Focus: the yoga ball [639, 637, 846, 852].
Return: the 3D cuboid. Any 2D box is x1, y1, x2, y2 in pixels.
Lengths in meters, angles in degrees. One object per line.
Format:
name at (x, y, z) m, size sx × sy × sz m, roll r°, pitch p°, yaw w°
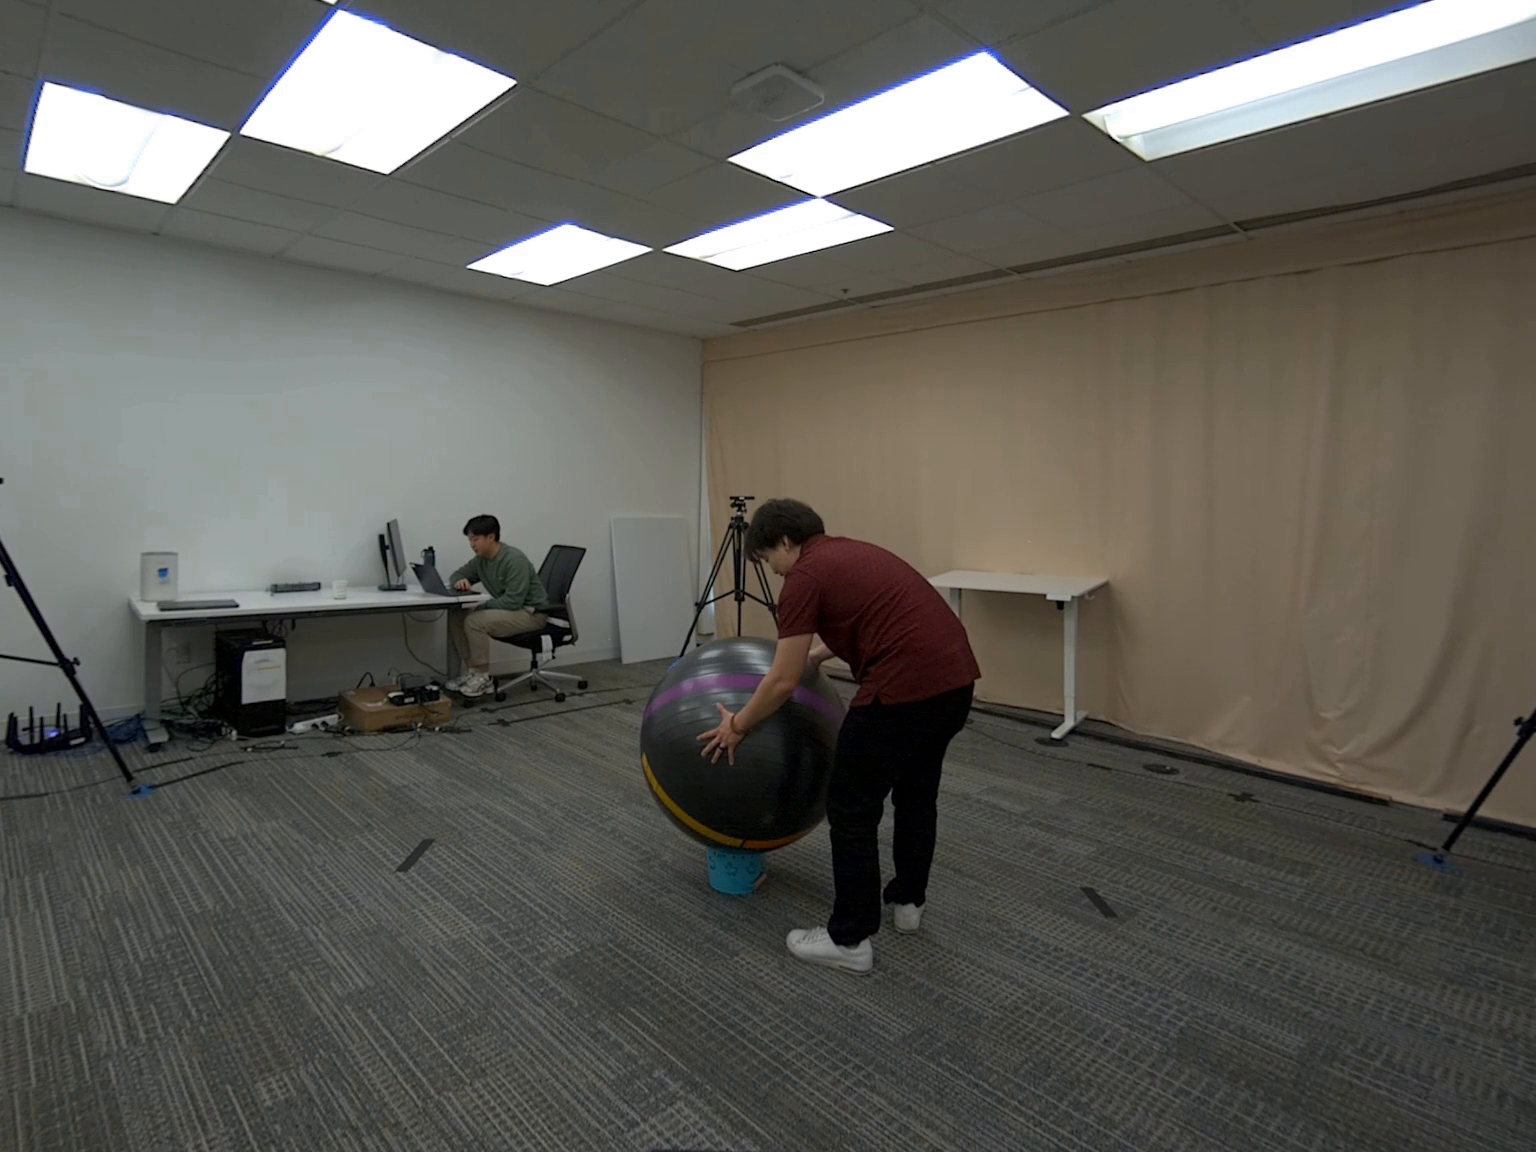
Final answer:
yoga ball at (-0.087, 0.602, 3.041) m, size 0.757 × 0.756 × 0.761 m, roll 1°, pitch 4°, yaw -1°
